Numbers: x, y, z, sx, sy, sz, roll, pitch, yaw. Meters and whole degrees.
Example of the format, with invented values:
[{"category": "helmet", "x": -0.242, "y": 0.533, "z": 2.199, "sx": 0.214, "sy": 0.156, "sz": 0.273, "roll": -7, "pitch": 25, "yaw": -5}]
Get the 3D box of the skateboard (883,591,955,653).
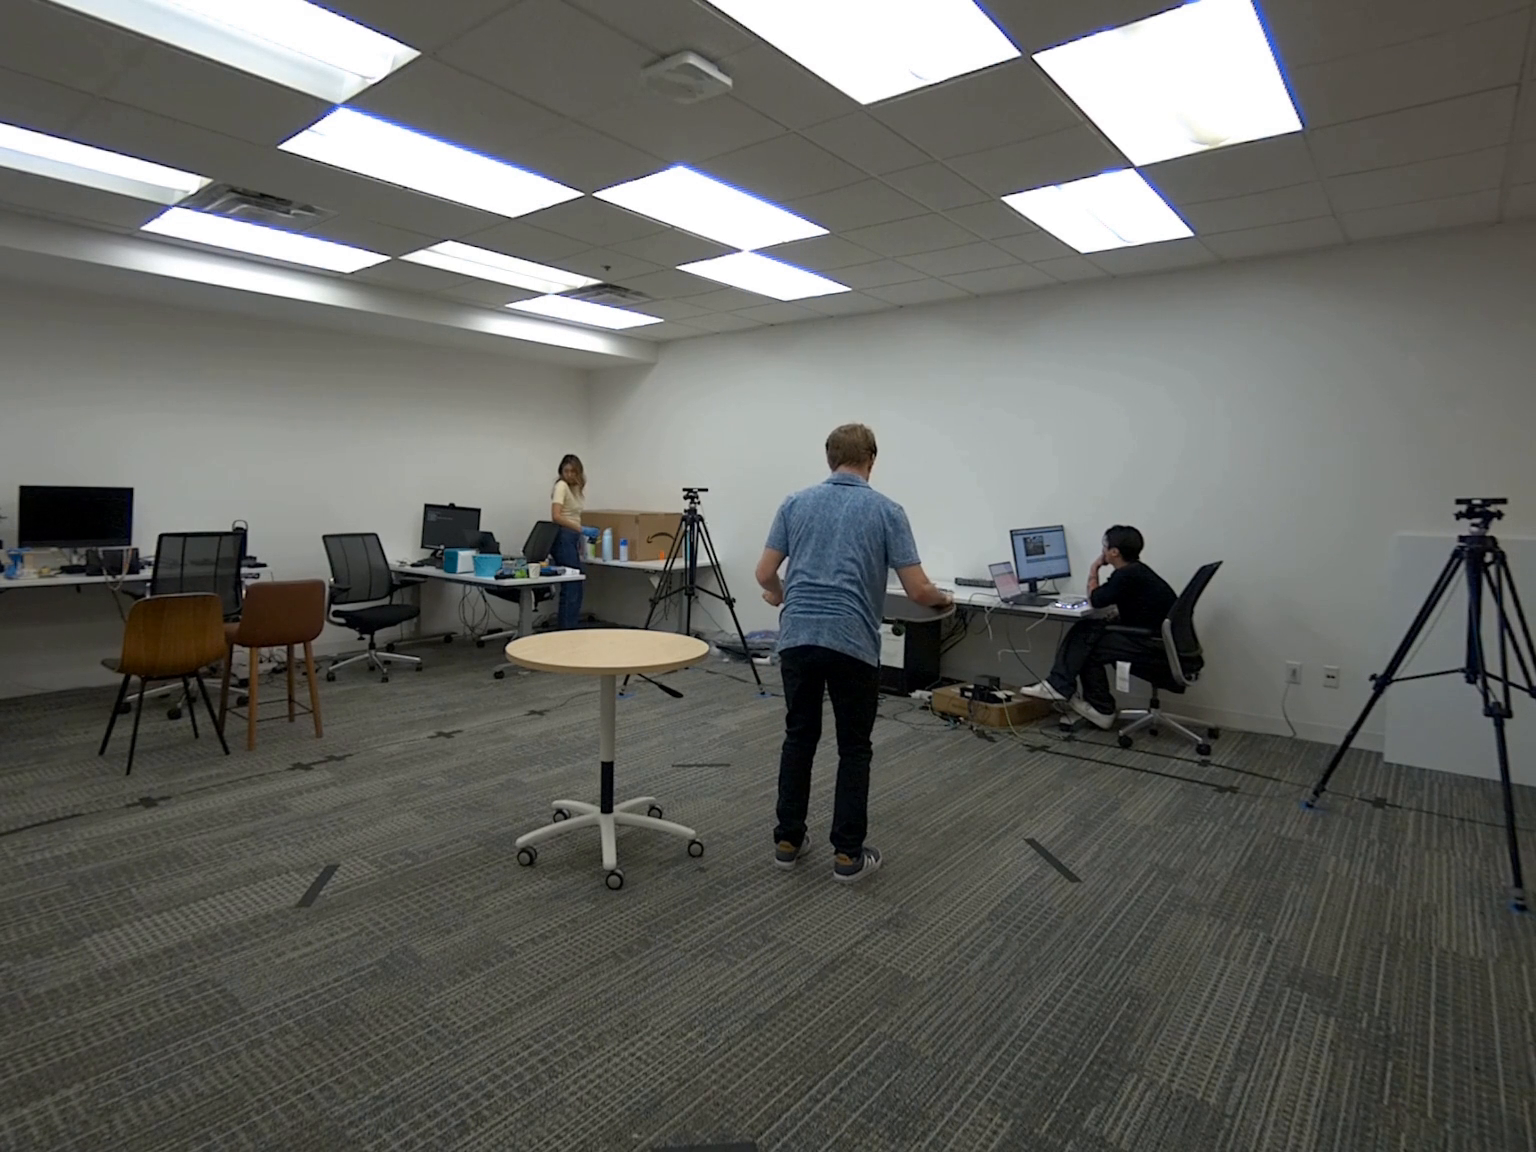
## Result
[{"category": "skateboard", "x": 0.350, "y": 0.134, "z": 3.397, "sx": 0.806, "sy": 0.108, "sz": 0.192, "roll": 6, "pitch": 25, "yaw": 25}]
